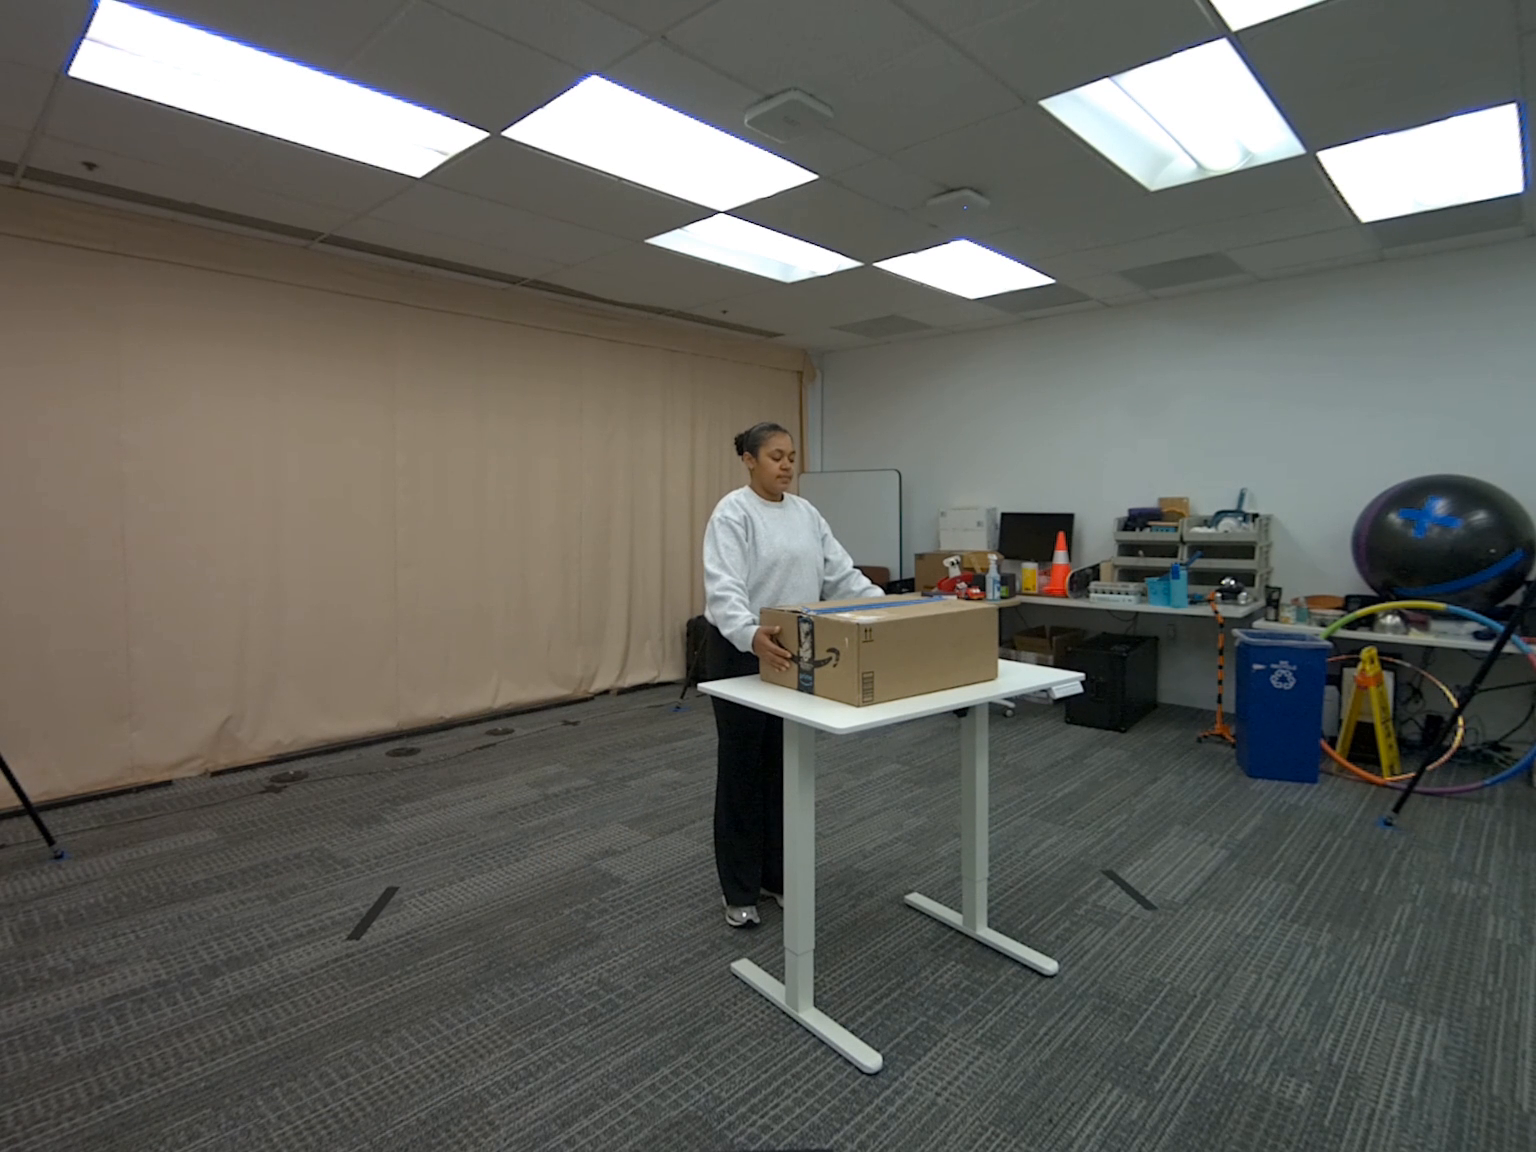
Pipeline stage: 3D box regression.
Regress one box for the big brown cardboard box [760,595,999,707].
[{"bbox_3d":[0.329,0.198,2.446,0.572,0.233,0.431,-3,5,-36],"label":"big brown cardboard box"}]
